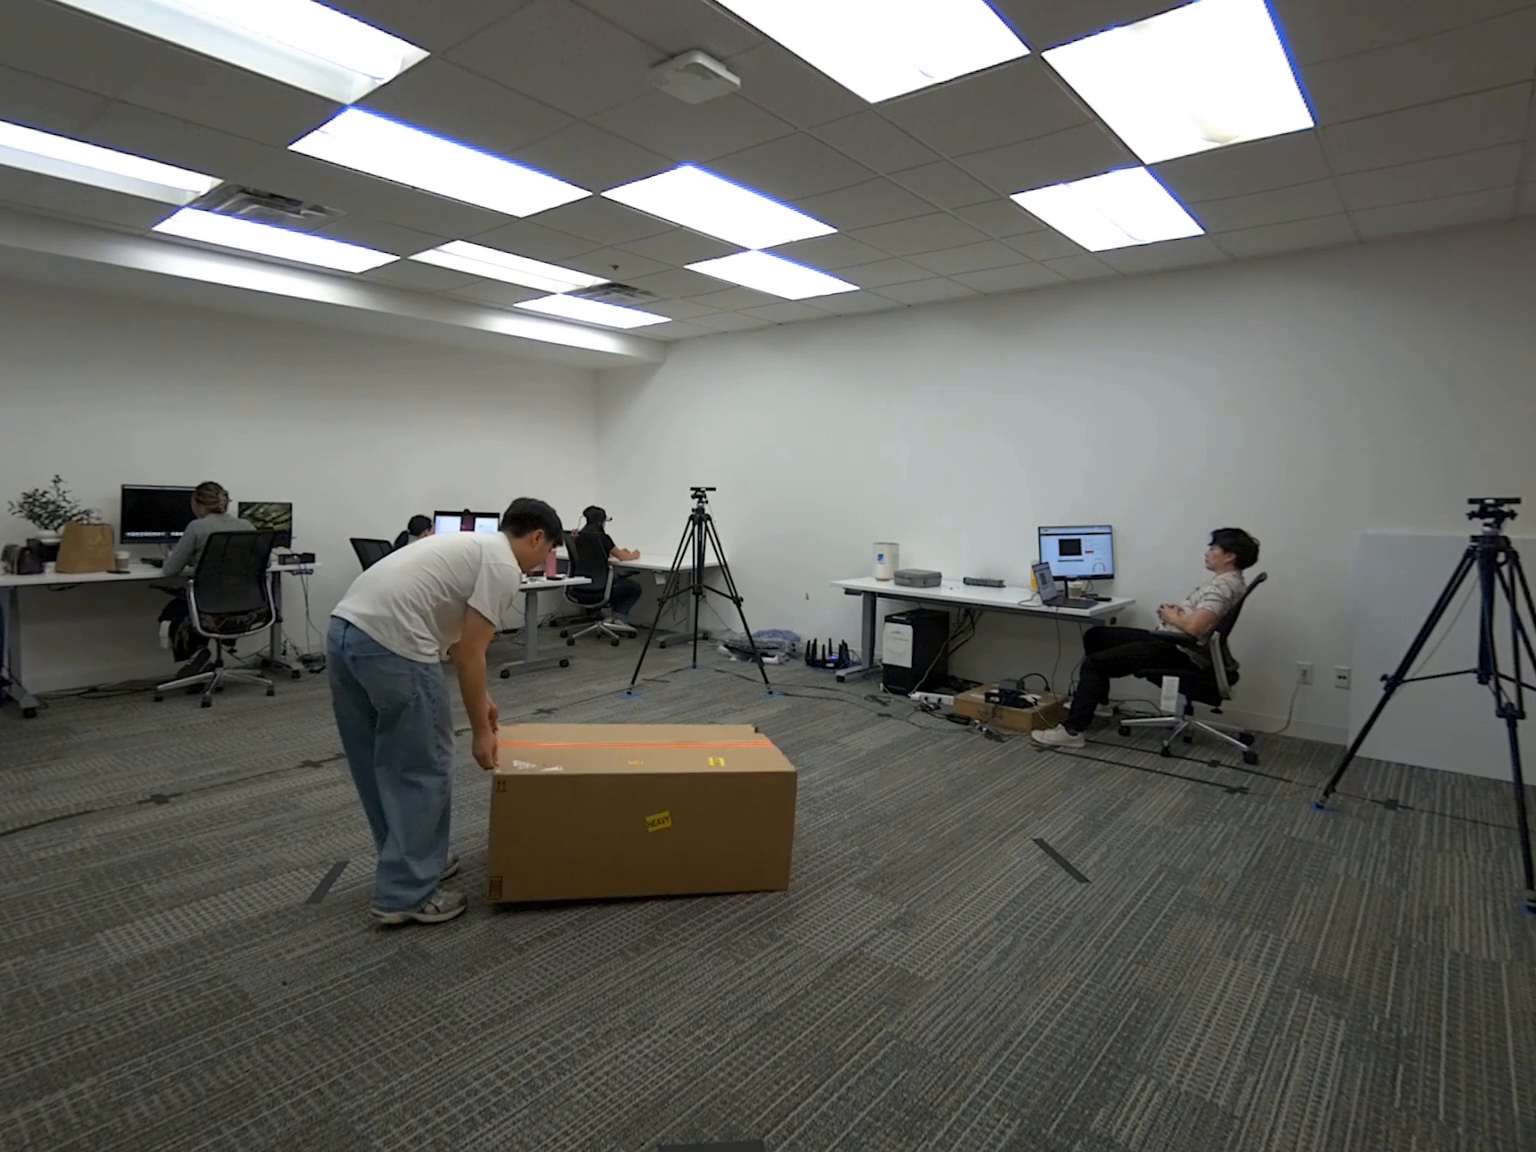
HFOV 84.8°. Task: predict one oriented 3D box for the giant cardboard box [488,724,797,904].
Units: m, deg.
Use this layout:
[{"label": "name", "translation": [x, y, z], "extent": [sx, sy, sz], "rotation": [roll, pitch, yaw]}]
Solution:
[{"label": "giant cardboard box", "translation": [-0.491, 0.815, 3.092], "extent": [1.009, 0.425, 0.589], "rotation": [2, 5, -15]}]
